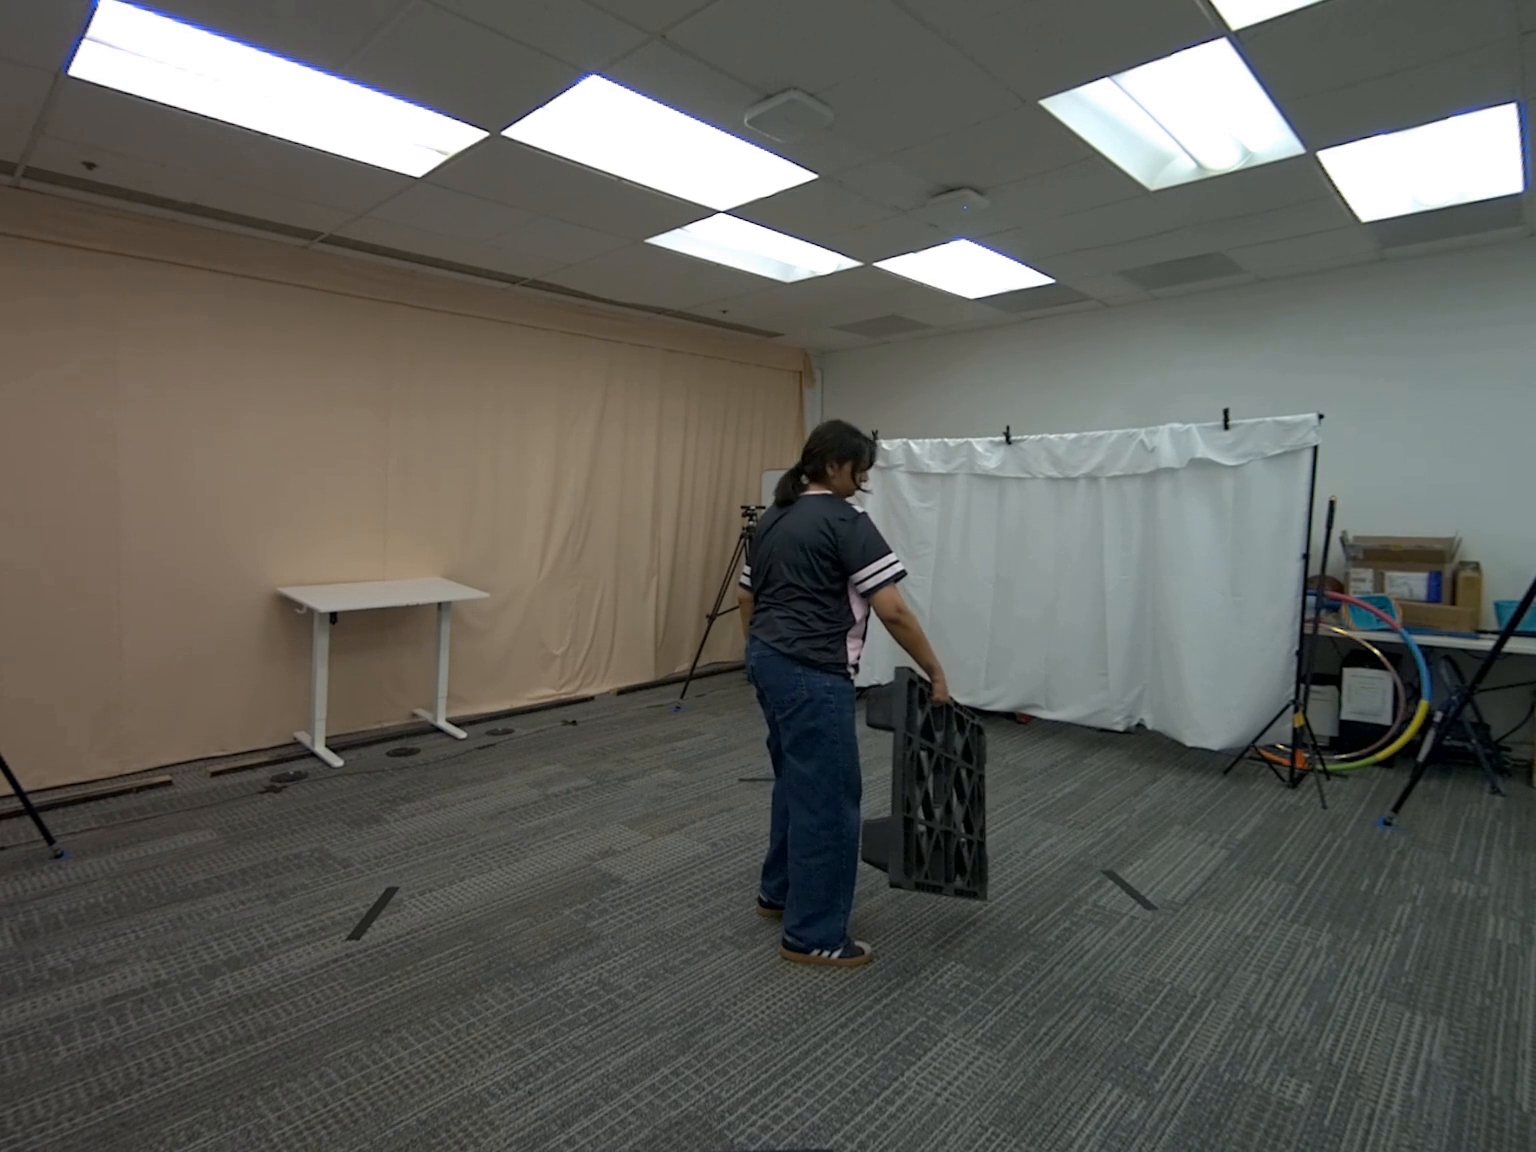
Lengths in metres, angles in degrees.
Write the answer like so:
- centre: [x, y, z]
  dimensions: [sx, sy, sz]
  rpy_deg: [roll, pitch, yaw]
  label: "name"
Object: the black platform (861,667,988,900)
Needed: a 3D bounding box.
- centre: [0.504, 0.667, 2.635]
  dimensions: [0.147, 0.612, 0.777]
  rpy_deg: [-8, -25, 29]
  label: "black platform"
